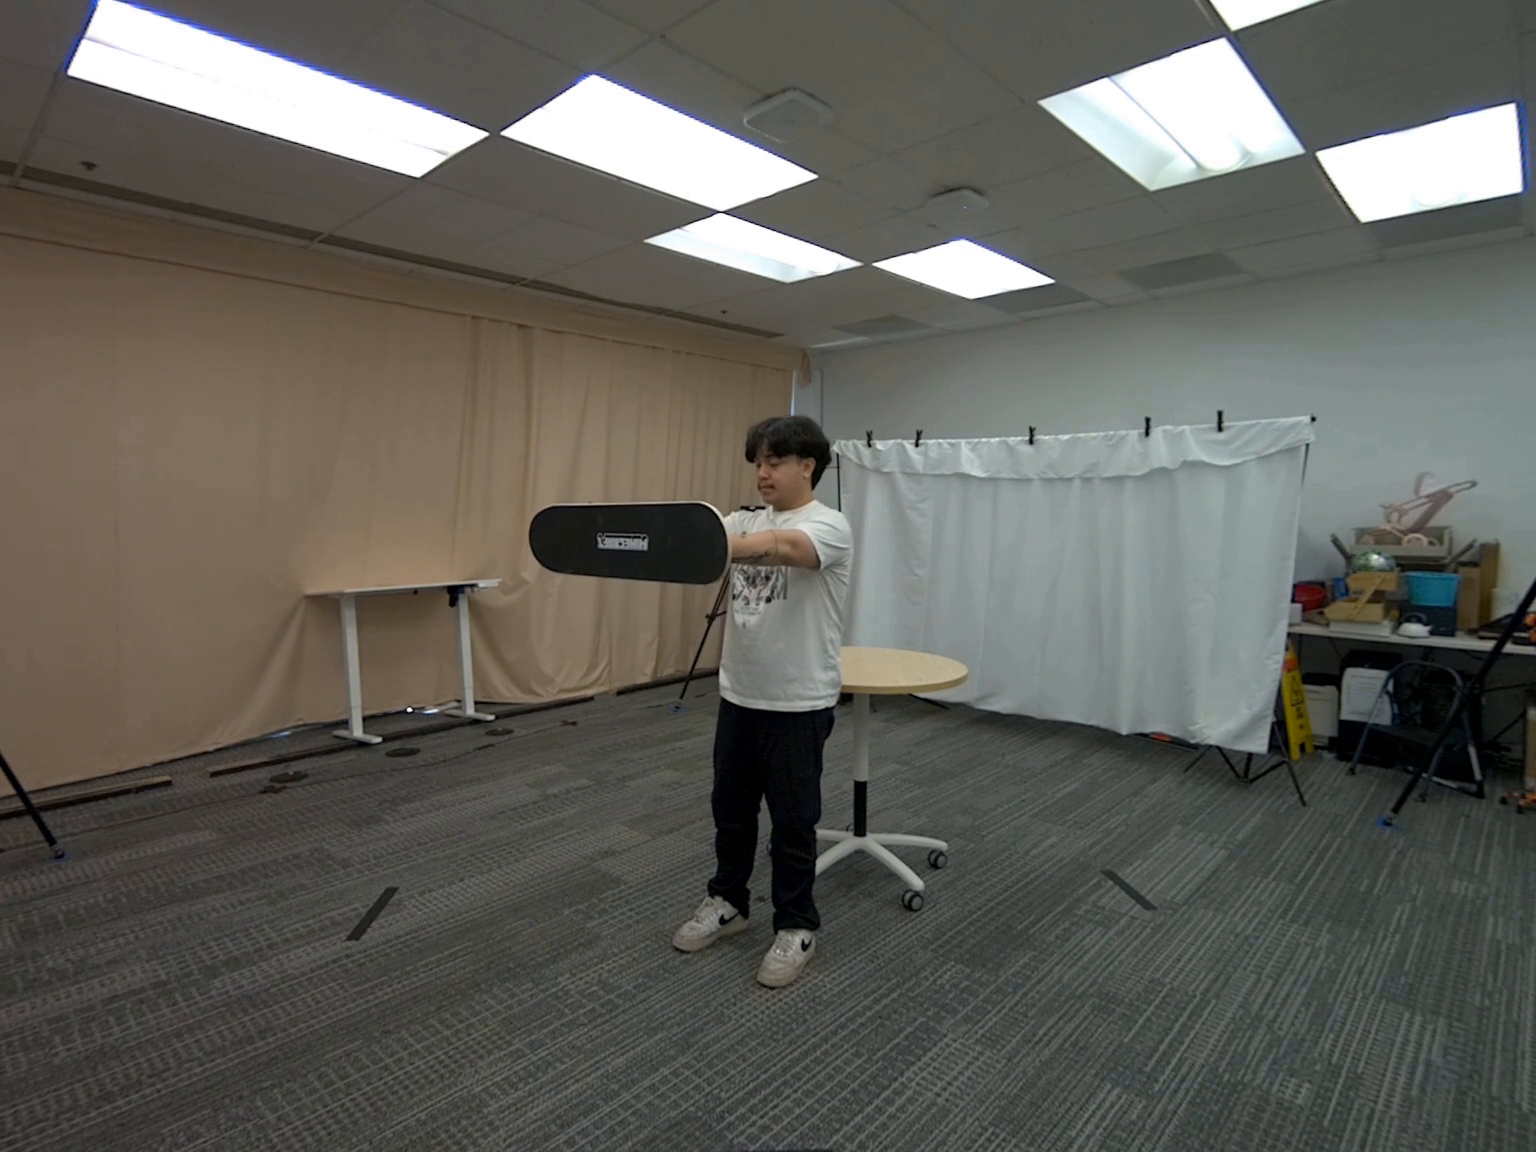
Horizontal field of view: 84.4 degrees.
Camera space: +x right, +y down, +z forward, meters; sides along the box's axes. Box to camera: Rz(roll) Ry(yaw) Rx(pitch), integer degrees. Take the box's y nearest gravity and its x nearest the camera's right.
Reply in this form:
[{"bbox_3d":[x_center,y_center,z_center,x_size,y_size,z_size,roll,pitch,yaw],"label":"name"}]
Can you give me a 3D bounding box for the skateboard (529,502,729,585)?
[{"bbox_3d":[-0.350,-0.087,2.150,0.812,0.193,0.107,4,7,43],"label":"skateboard"}]
